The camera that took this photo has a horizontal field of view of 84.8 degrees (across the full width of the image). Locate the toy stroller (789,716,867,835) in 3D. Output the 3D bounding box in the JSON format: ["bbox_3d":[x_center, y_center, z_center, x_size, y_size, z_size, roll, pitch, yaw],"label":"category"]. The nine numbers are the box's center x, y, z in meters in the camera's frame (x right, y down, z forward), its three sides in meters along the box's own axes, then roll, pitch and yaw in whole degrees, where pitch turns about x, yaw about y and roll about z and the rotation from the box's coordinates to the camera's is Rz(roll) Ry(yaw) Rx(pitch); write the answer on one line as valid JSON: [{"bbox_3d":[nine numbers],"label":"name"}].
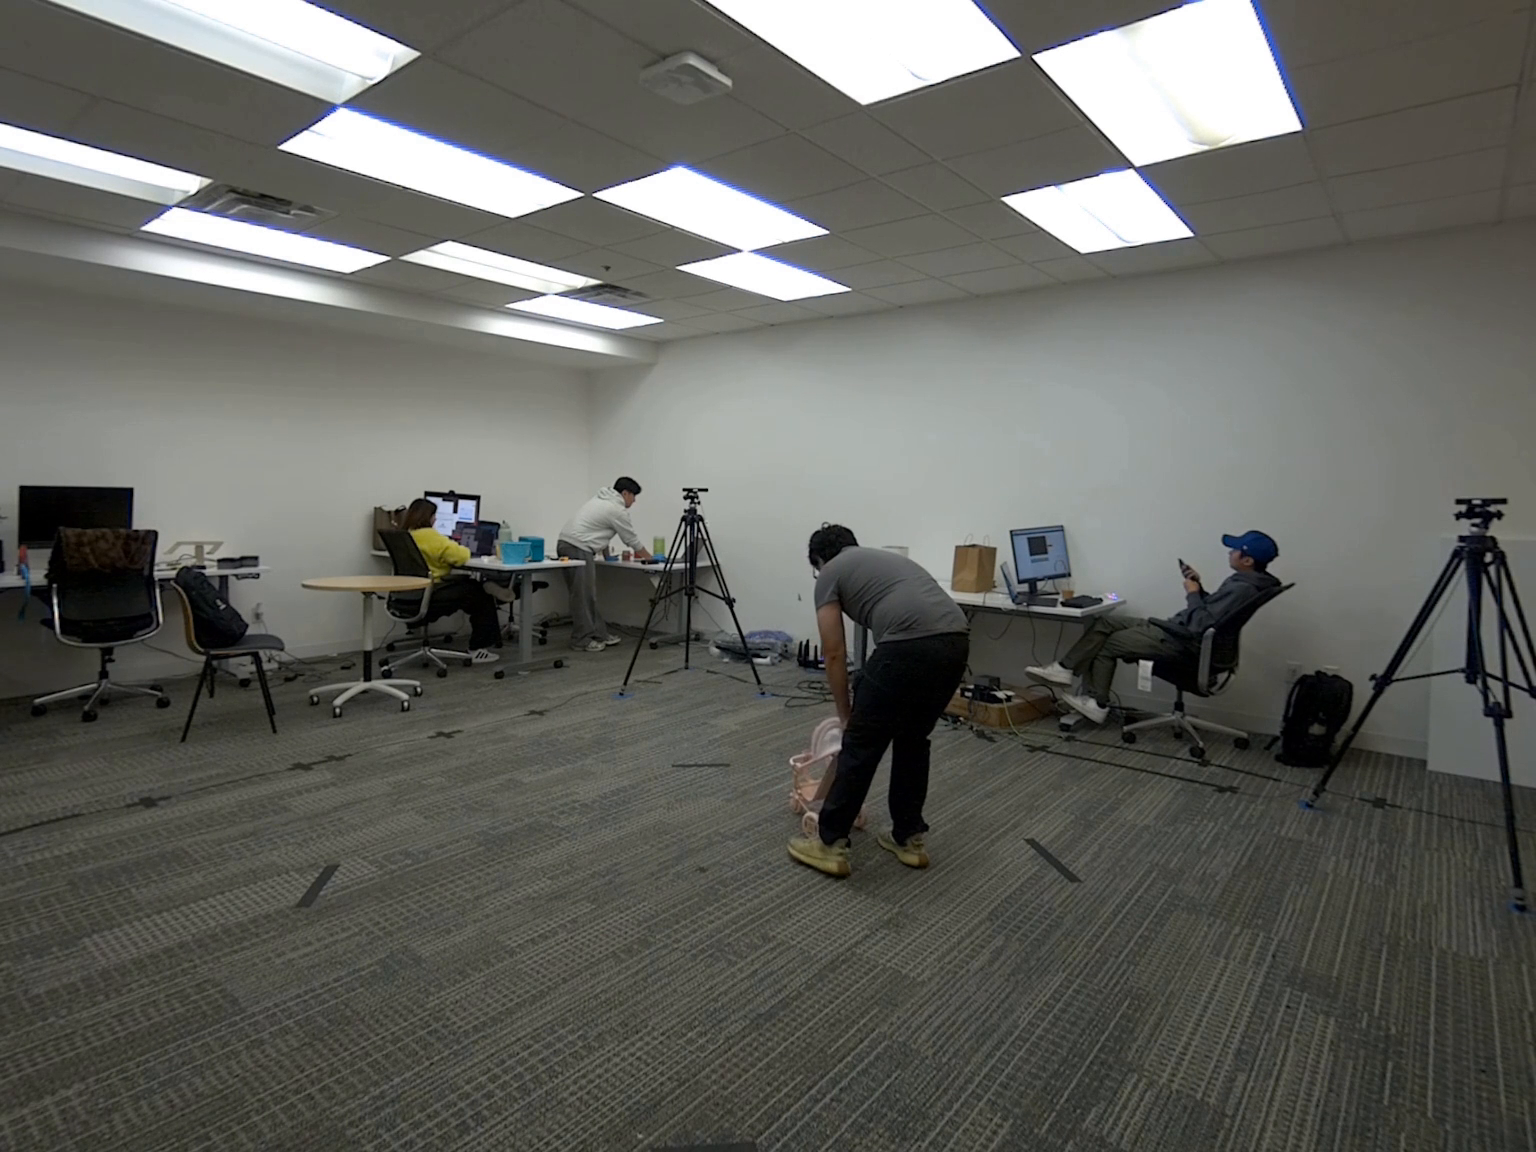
[{"bbox_3d":[0.233,0.814,3.519,0.273,0.529,0.355,0,19,-34],"label":"toy stroller"}]
